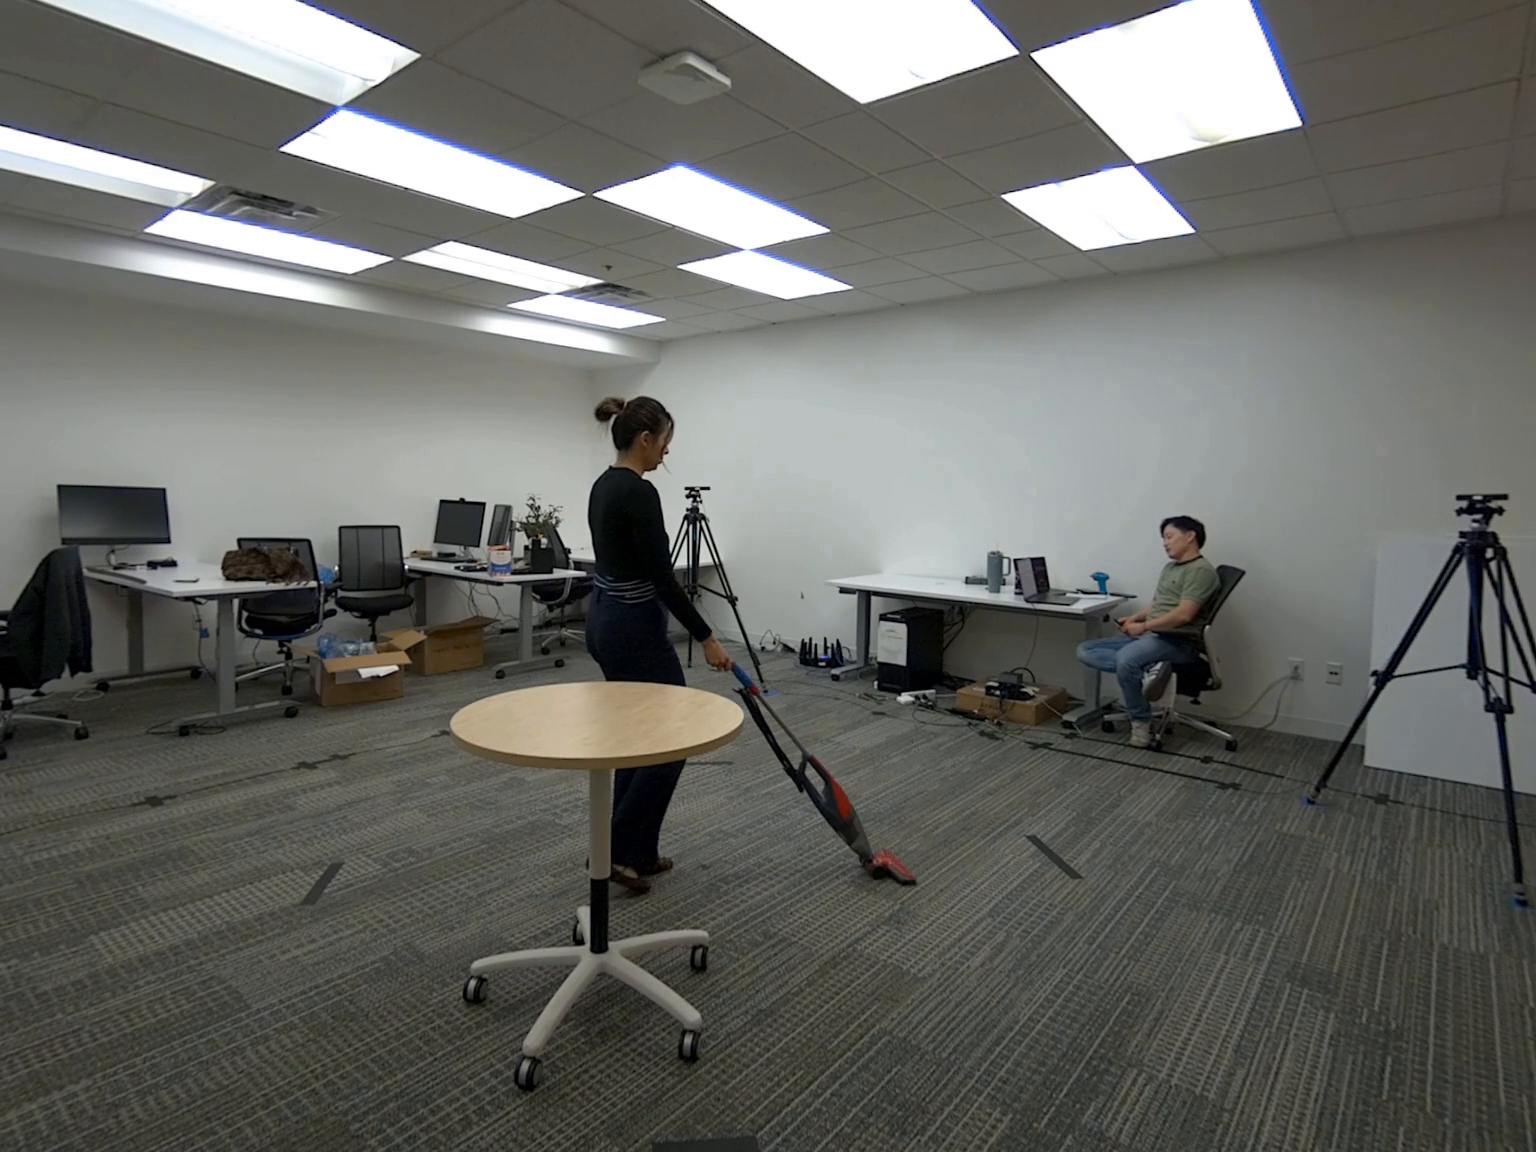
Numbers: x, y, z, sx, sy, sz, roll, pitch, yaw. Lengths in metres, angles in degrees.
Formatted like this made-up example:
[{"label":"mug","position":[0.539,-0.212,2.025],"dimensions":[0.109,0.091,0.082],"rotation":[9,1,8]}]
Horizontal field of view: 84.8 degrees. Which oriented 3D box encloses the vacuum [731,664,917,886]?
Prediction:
[{"label":"vacuum","position":[0.114,0.667,3.014],"dimensions":[0.143,1.033,0.257],"rotation":[-40,11,-12]}]
